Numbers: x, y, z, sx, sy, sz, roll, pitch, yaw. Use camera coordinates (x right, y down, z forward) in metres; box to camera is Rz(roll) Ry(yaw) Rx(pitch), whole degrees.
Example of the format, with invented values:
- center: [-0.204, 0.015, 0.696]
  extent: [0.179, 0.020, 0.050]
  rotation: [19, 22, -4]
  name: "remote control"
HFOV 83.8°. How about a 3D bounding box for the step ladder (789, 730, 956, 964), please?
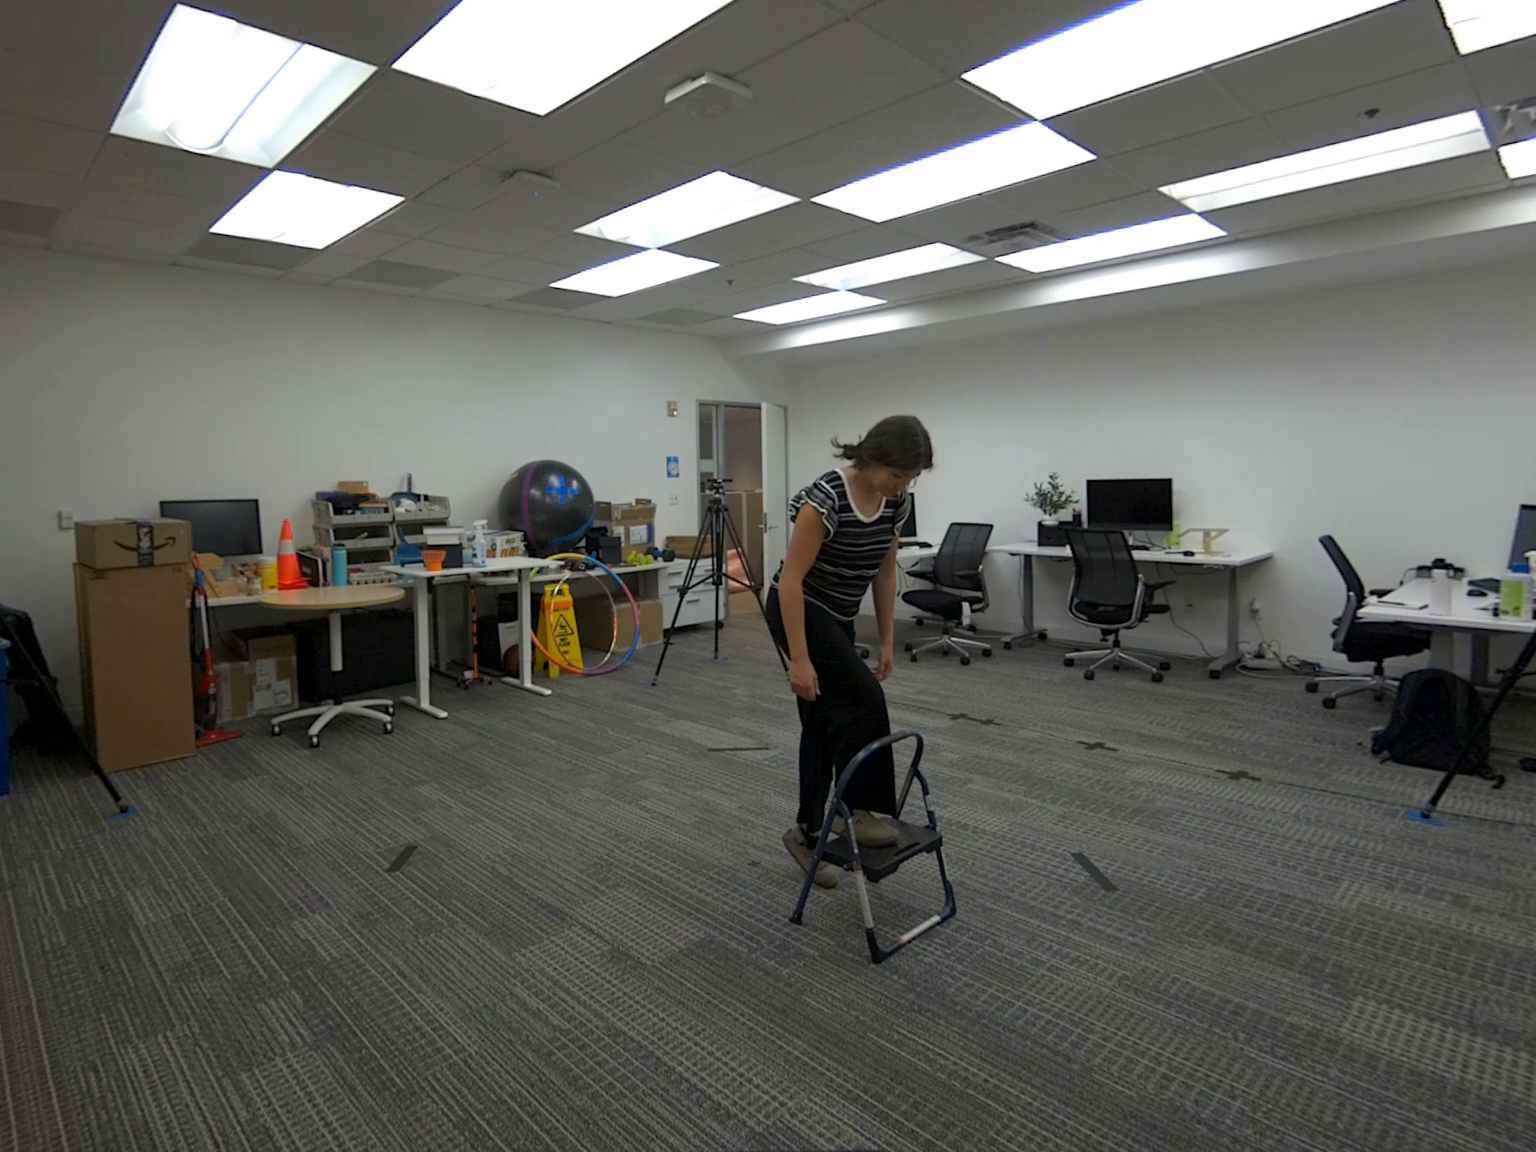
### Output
- center: [0.336, 0.785, 2.689]
  extent: [0.360, 0.604, 0.419]
  rotation: [3, 6, 45]
  name: "step ladder"
